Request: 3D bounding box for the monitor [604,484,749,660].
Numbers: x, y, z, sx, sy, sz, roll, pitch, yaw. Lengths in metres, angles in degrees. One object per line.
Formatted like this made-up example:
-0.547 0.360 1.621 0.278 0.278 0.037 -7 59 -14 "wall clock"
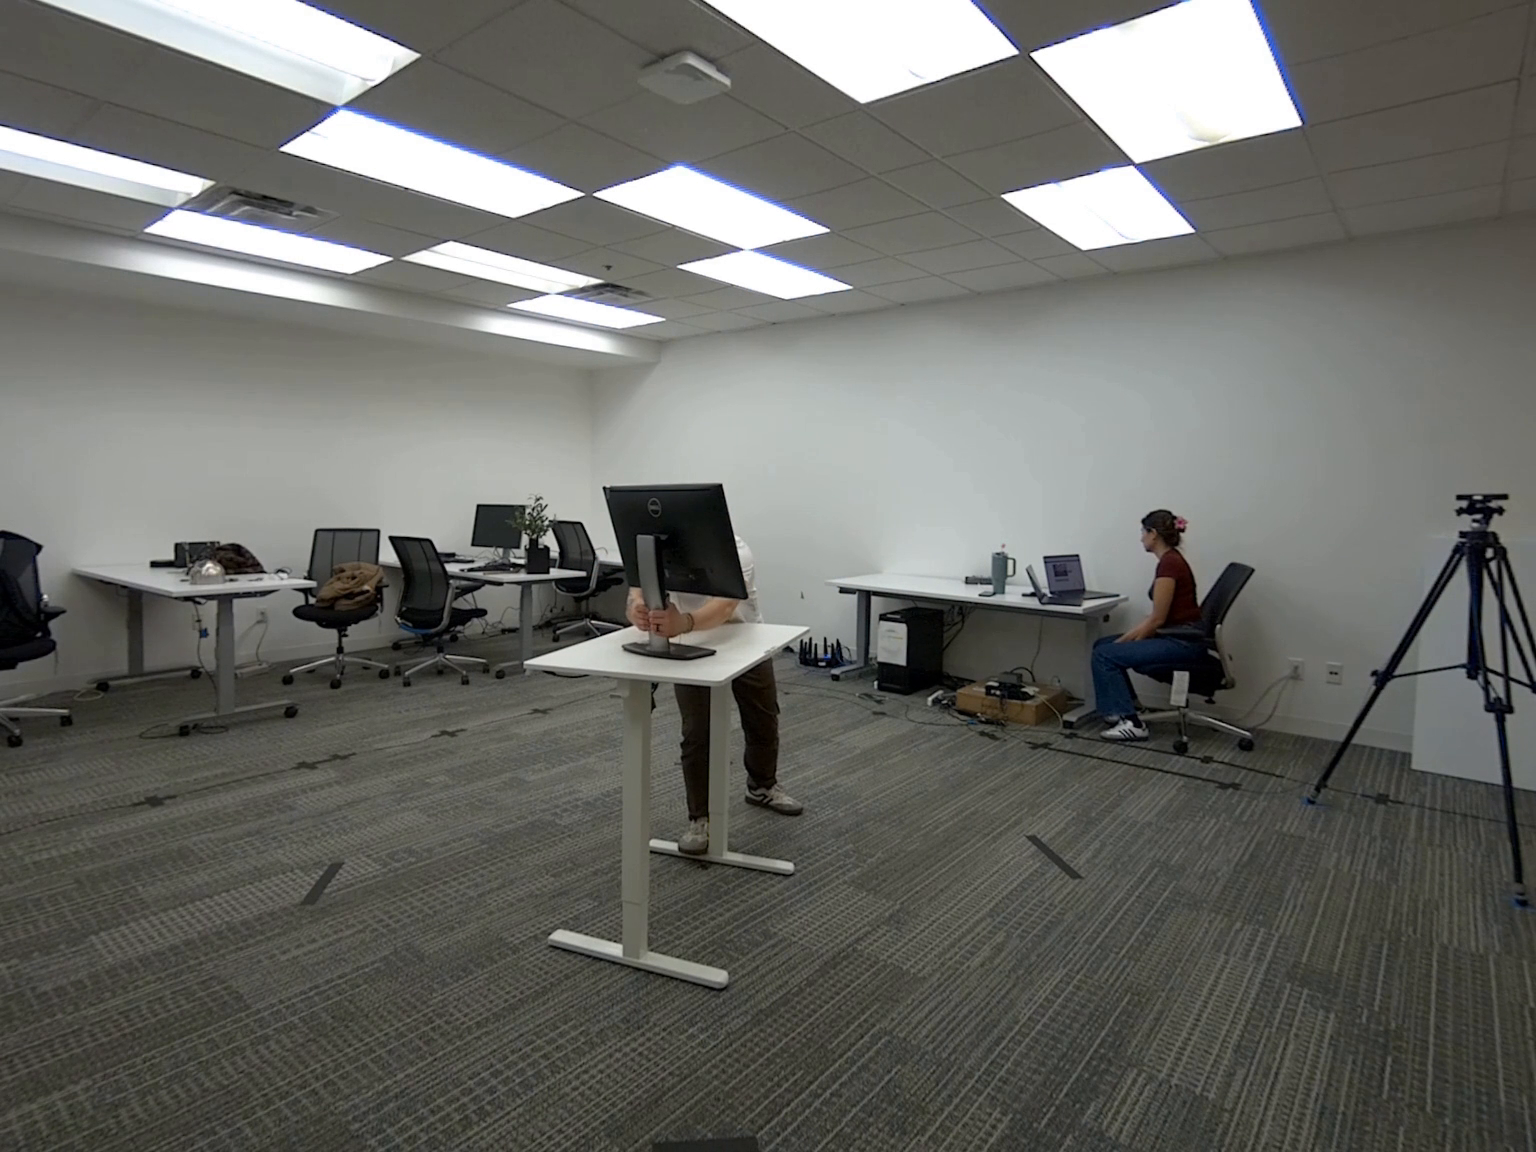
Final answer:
-0.322 -0.024 2.592 0.557 0.520 0.182 2 8 41 "monitor"
